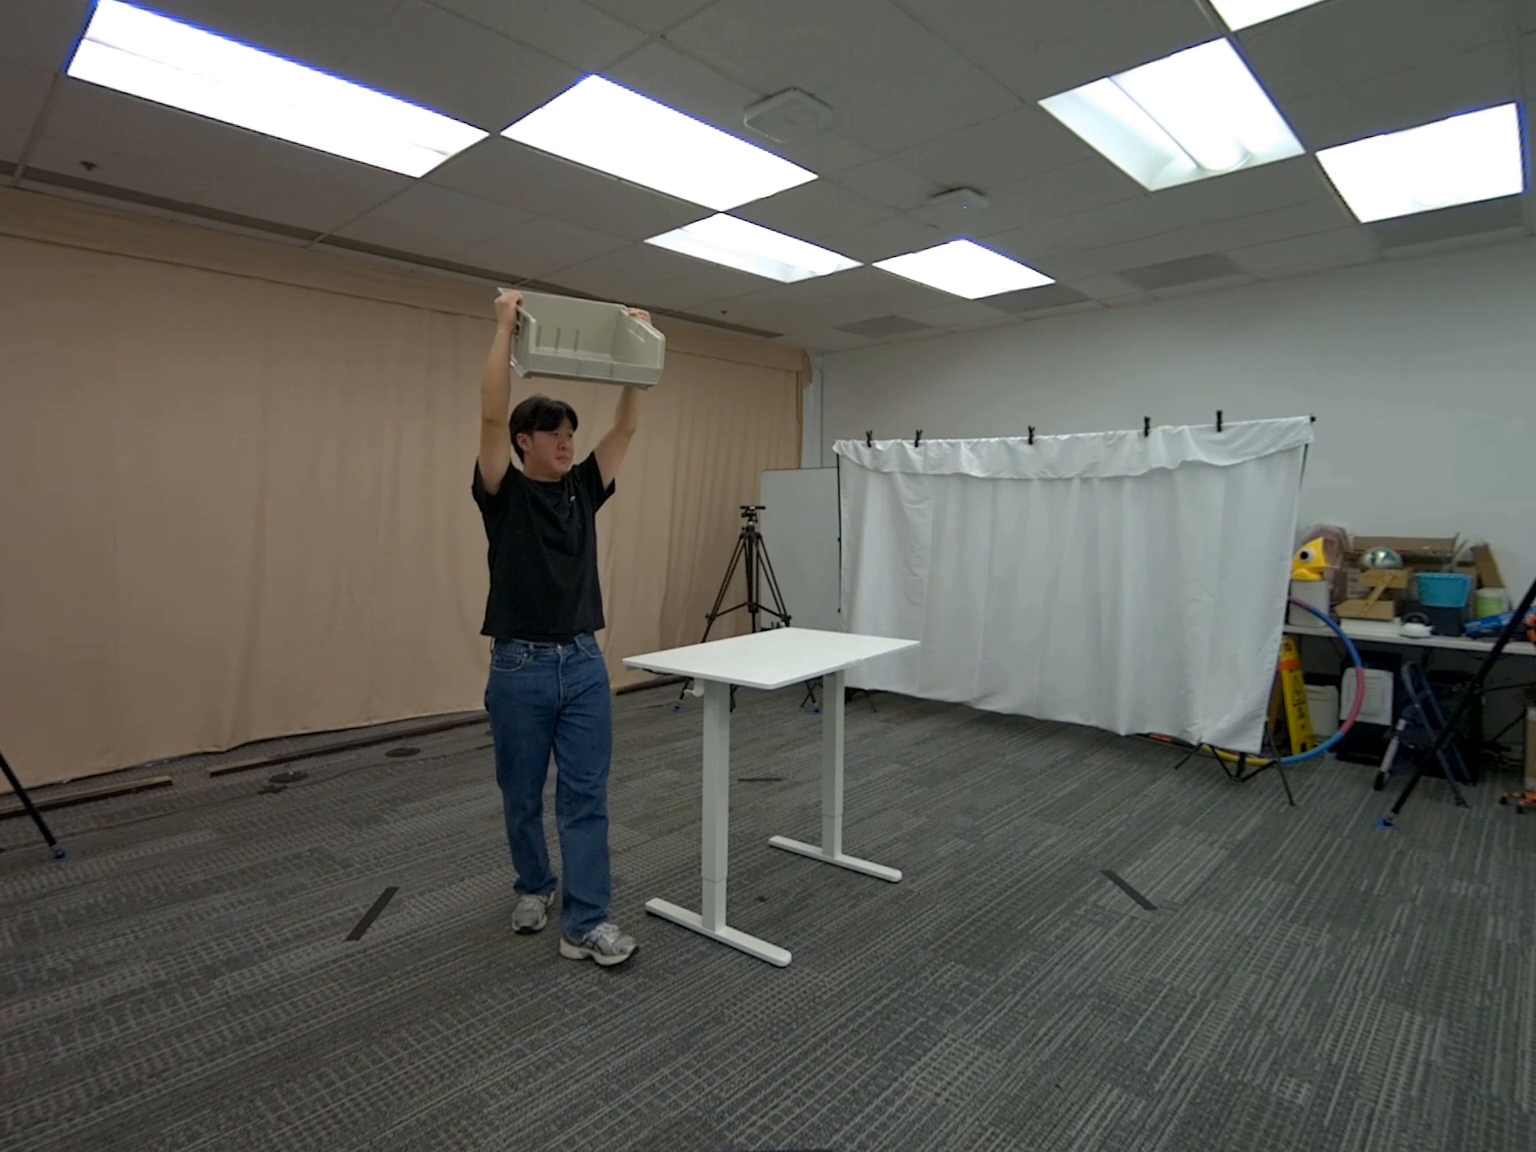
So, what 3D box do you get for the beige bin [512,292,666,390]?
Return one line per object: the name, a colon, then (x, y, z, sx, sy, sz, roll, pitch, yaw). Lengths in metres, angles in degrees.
beige bin: (-0.578, -0.721, 2.581, 0.410, 0.187, 0.391, -2, 30, -32)
